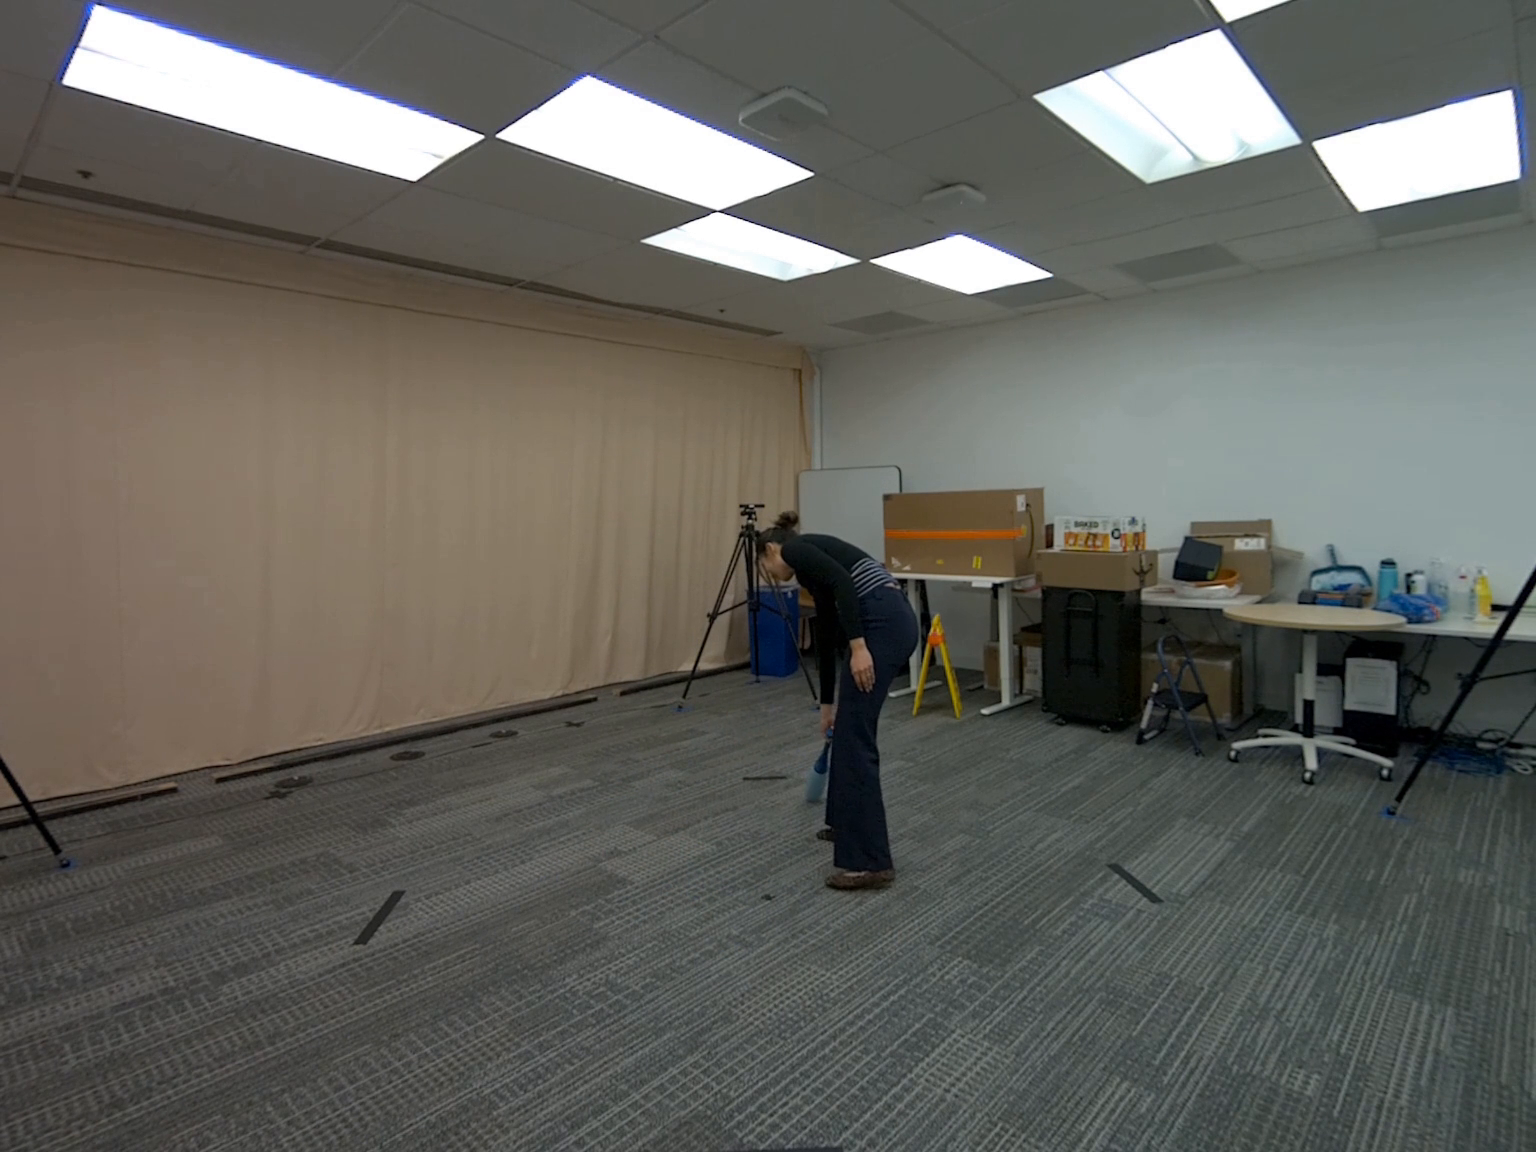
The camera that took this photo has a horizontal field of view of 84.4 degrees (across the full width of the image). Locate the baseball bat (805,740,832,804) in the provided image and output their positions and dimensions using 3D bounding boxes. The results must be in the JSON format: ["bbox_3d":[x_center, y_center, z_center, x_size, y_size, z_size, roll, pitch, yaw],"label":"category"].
[{"bbox_3d":[0.237,0.854,3.776,0.088,0.535,0.091,3,47,-5],"label":"baseball bat"}]
